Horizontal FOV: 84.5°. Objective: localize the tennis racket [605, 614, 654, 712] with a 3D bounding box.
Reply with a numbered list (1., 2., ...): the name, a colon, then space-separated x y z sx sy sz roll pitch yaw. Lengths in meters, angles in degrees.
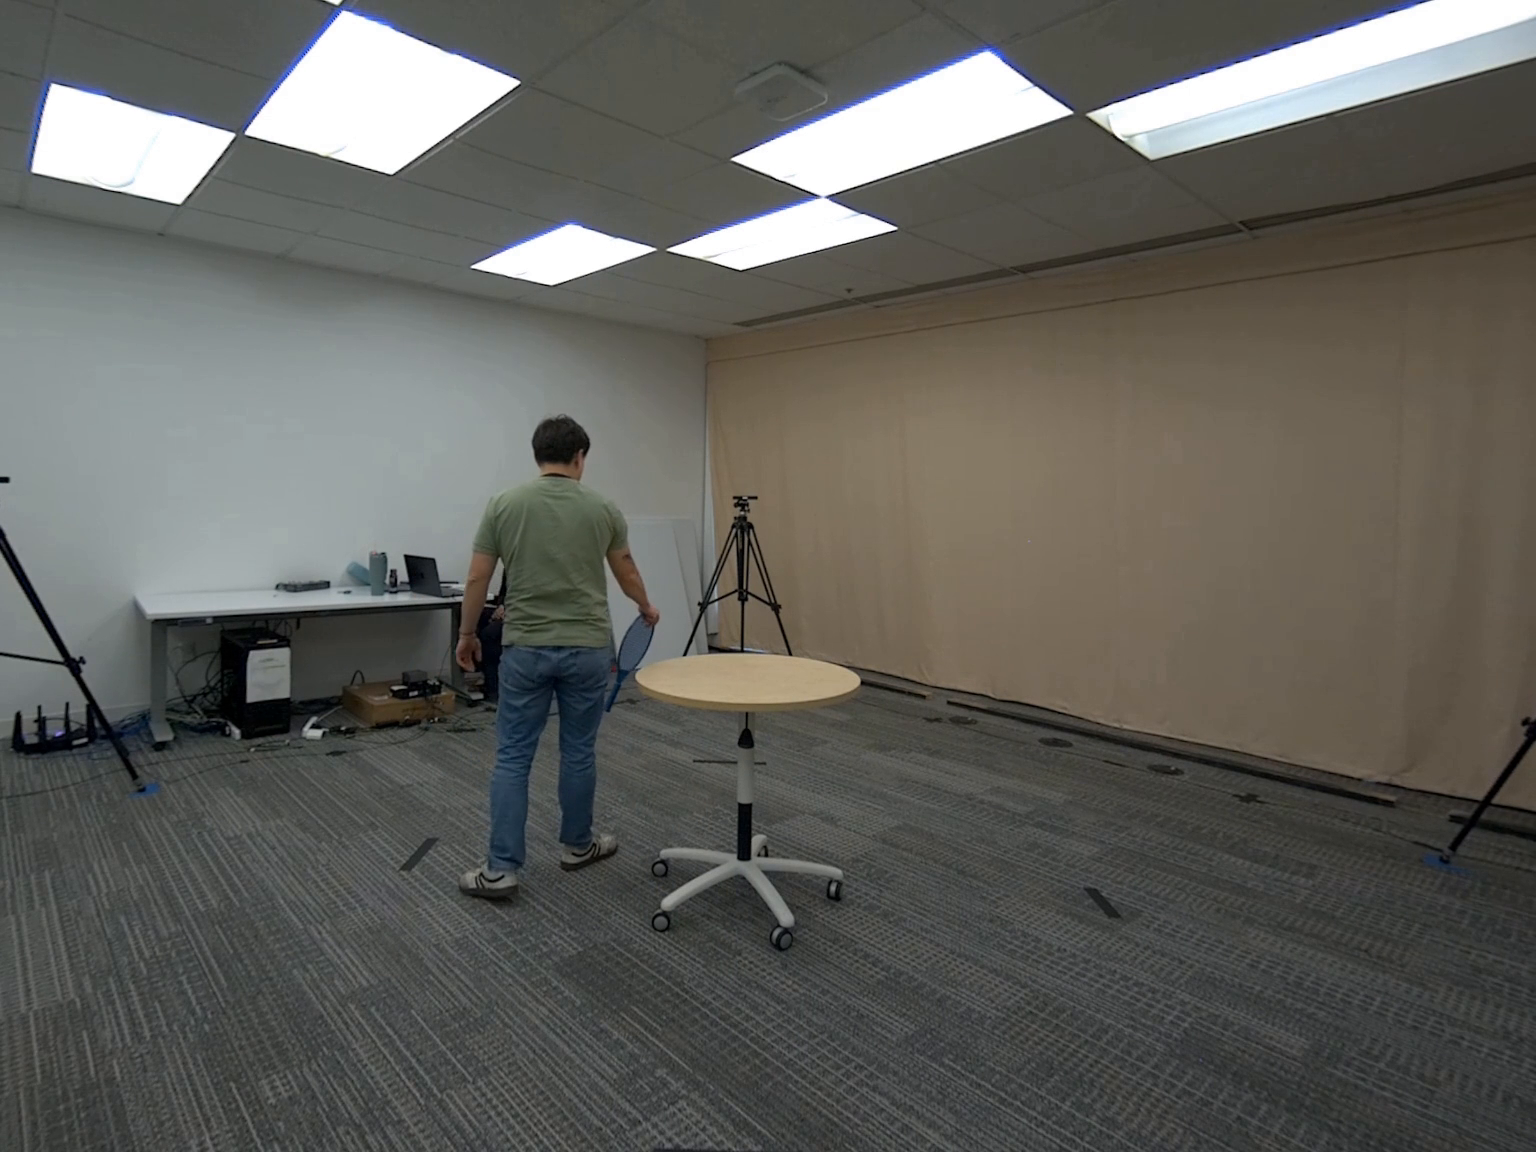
1. tennis racket: -0.572 0.349 3.416 0.032 0.434 0.208 21 -10 21
